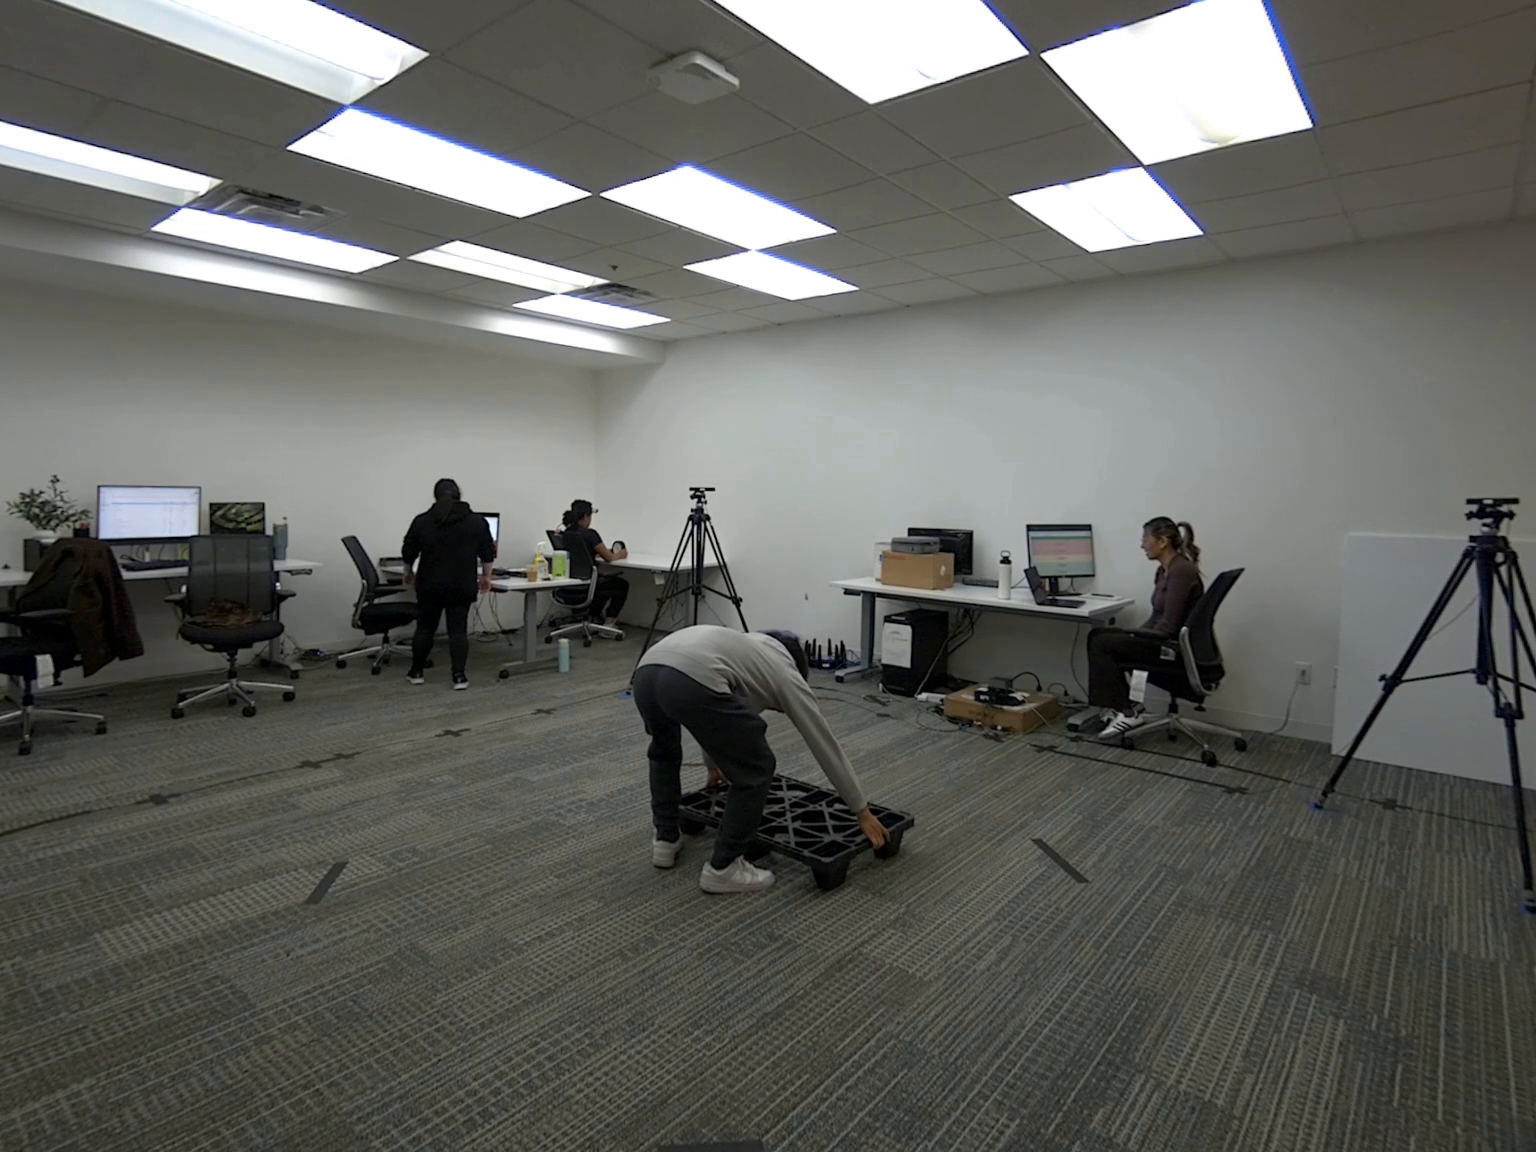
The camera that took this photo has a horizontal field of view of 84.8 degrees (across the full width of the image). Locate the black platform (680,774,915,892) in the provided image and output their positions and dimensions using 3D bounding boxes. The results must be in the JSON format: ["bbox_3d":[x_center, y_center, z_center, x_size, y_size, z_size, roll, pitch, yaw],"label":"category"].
[{"bbox_3d":[0.070,0.974,3.361,0.833,0.143,0.587,6,7,41],"label":"black platform"}]
